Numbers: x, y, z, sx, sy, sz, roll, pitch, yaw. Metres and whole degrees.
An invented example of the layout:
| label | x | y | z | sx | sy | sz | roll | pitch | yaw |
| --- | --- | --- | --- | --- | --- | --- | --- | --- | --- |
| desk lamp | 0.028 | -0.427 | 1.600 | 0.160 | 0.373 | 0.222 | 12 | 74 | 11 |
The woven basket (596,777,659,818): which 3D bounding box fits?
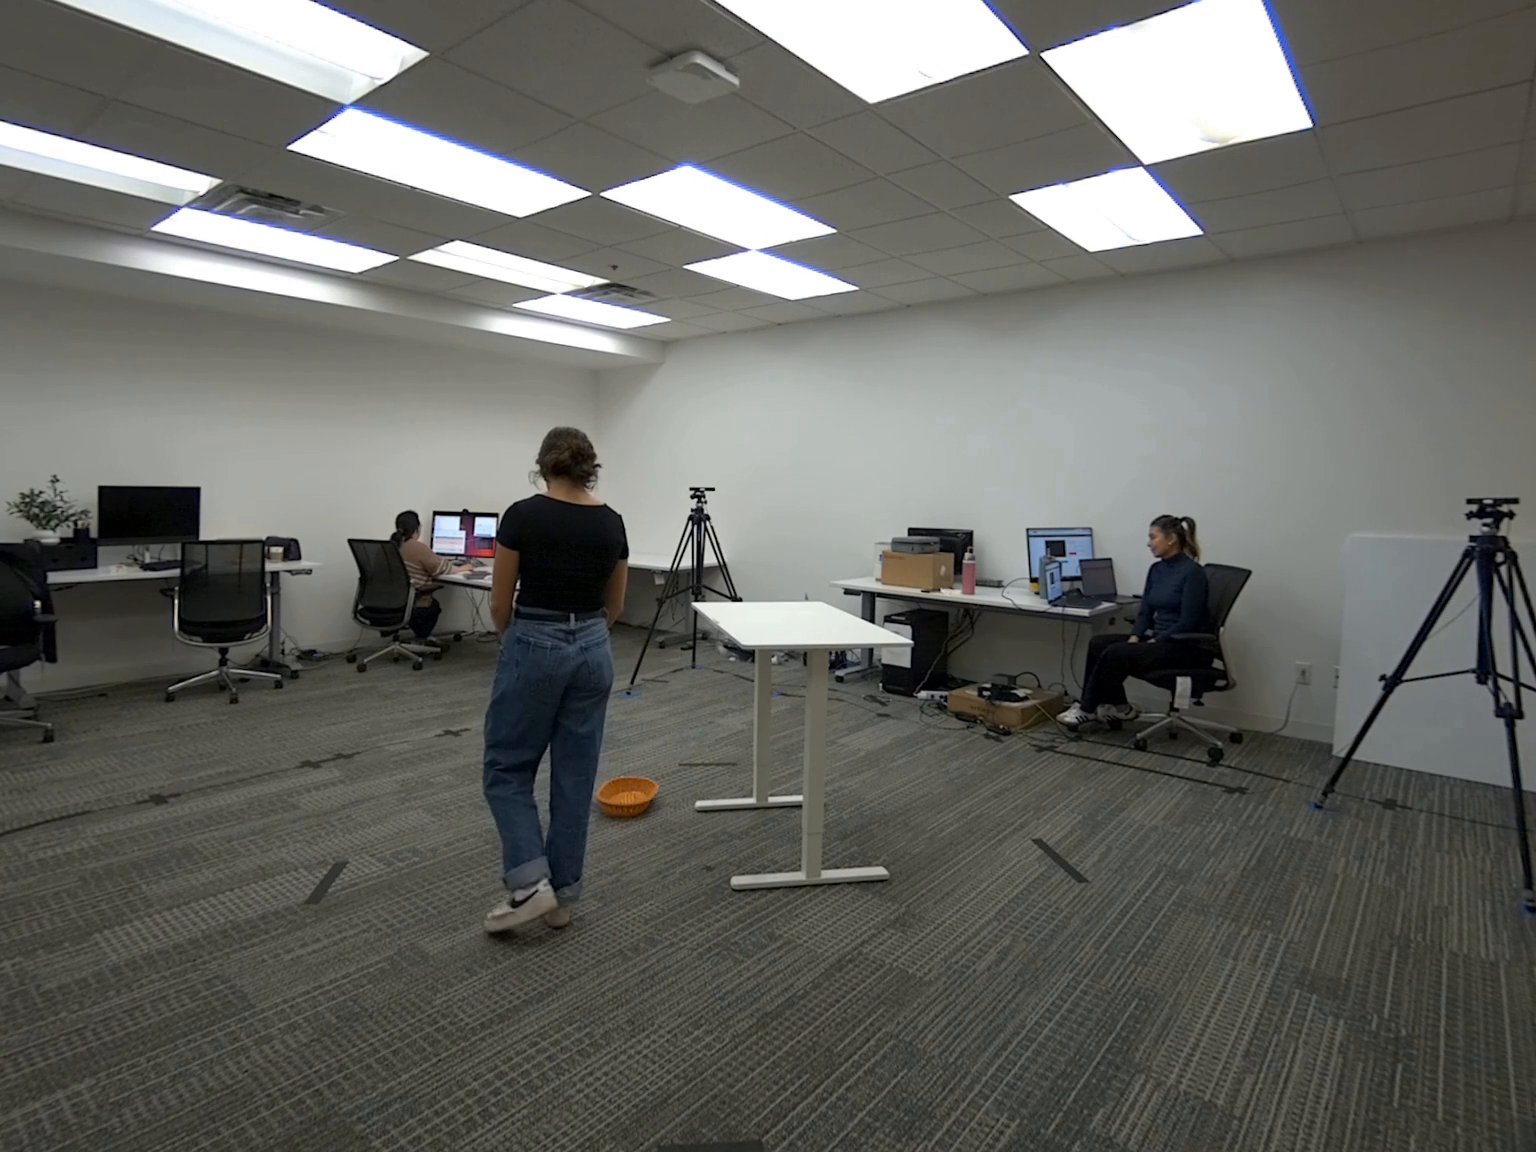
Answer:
| label | x | y | z | sx | sy | sz | roll | pitch | yaw |
| --- | --- | --- | --- | --- | --- | --- | --- | --- | --- |
| woven basket | -0.621 | 0.963 | 3.711 | 0.255 | 0.073 | 0.348 | 3 | 5 | 9 |
